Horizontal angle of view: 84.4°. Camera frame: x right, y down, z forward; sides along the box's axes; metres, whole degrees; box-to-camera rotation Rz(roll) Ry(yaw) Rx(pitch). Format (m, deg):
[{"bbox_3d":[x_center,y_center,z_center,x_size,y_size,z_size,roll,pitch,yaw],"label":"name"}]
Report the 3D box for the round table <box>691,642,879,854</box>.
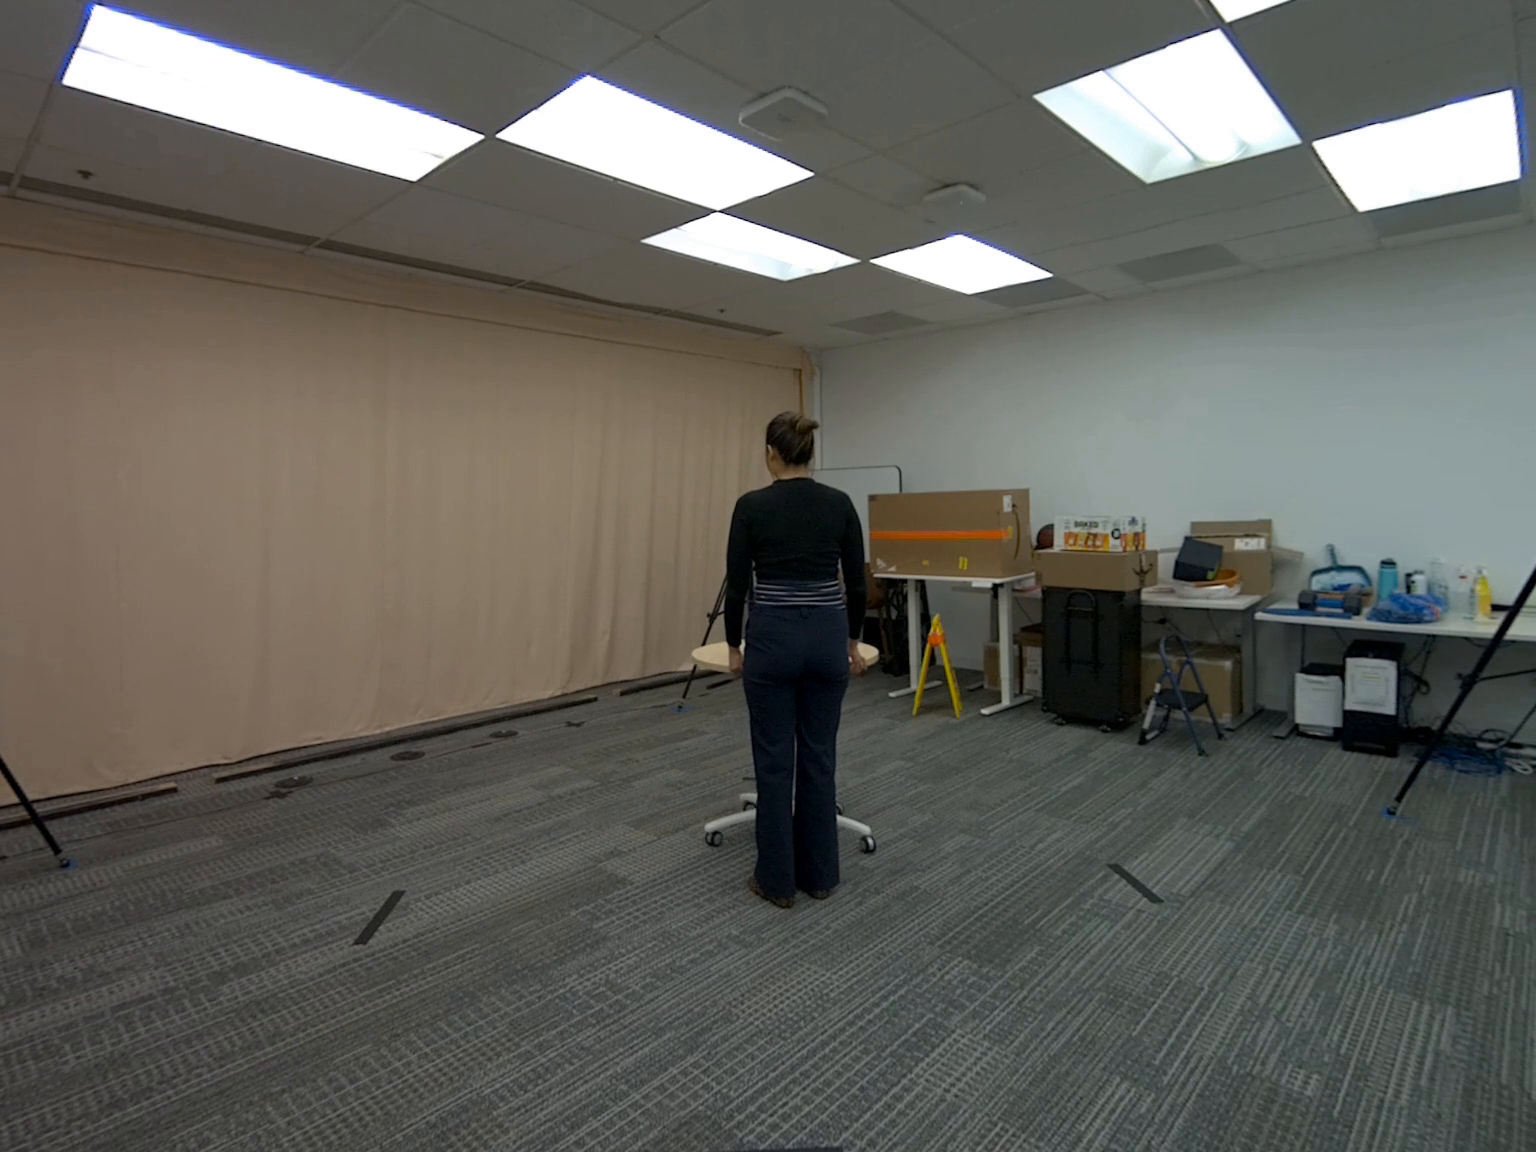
[{"bbox_3d":[0.082,0.703,3.488,0.763,0.792,0.766,-1,3,-2],"label":"round table"}]
